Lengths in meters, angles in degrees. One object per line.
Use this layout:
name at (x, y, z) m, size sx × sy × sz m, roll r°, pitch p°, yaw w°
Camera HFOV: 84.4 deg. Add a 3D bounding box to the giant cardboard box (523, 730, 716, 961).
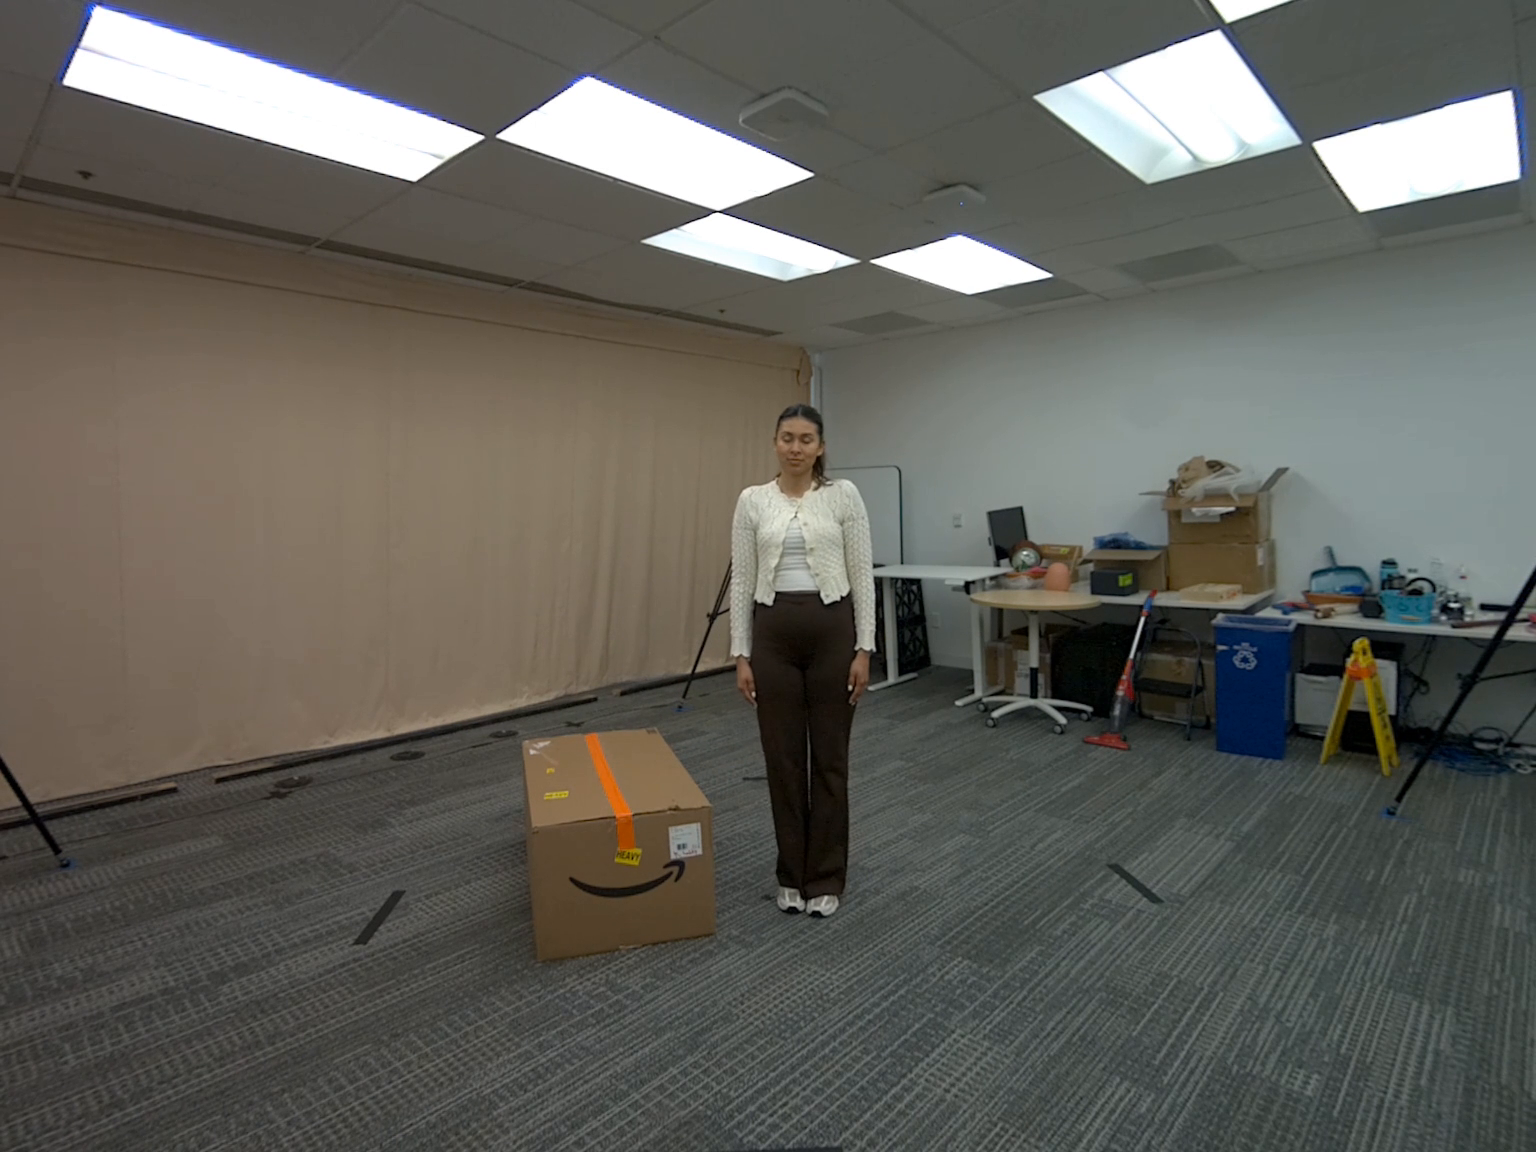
giant cardboard box at (-0.600, 0.923, 3.137) m, size 0.568 × 0.425 × 1.046 m, roll -3°, pitch 5°, yaw -17°
